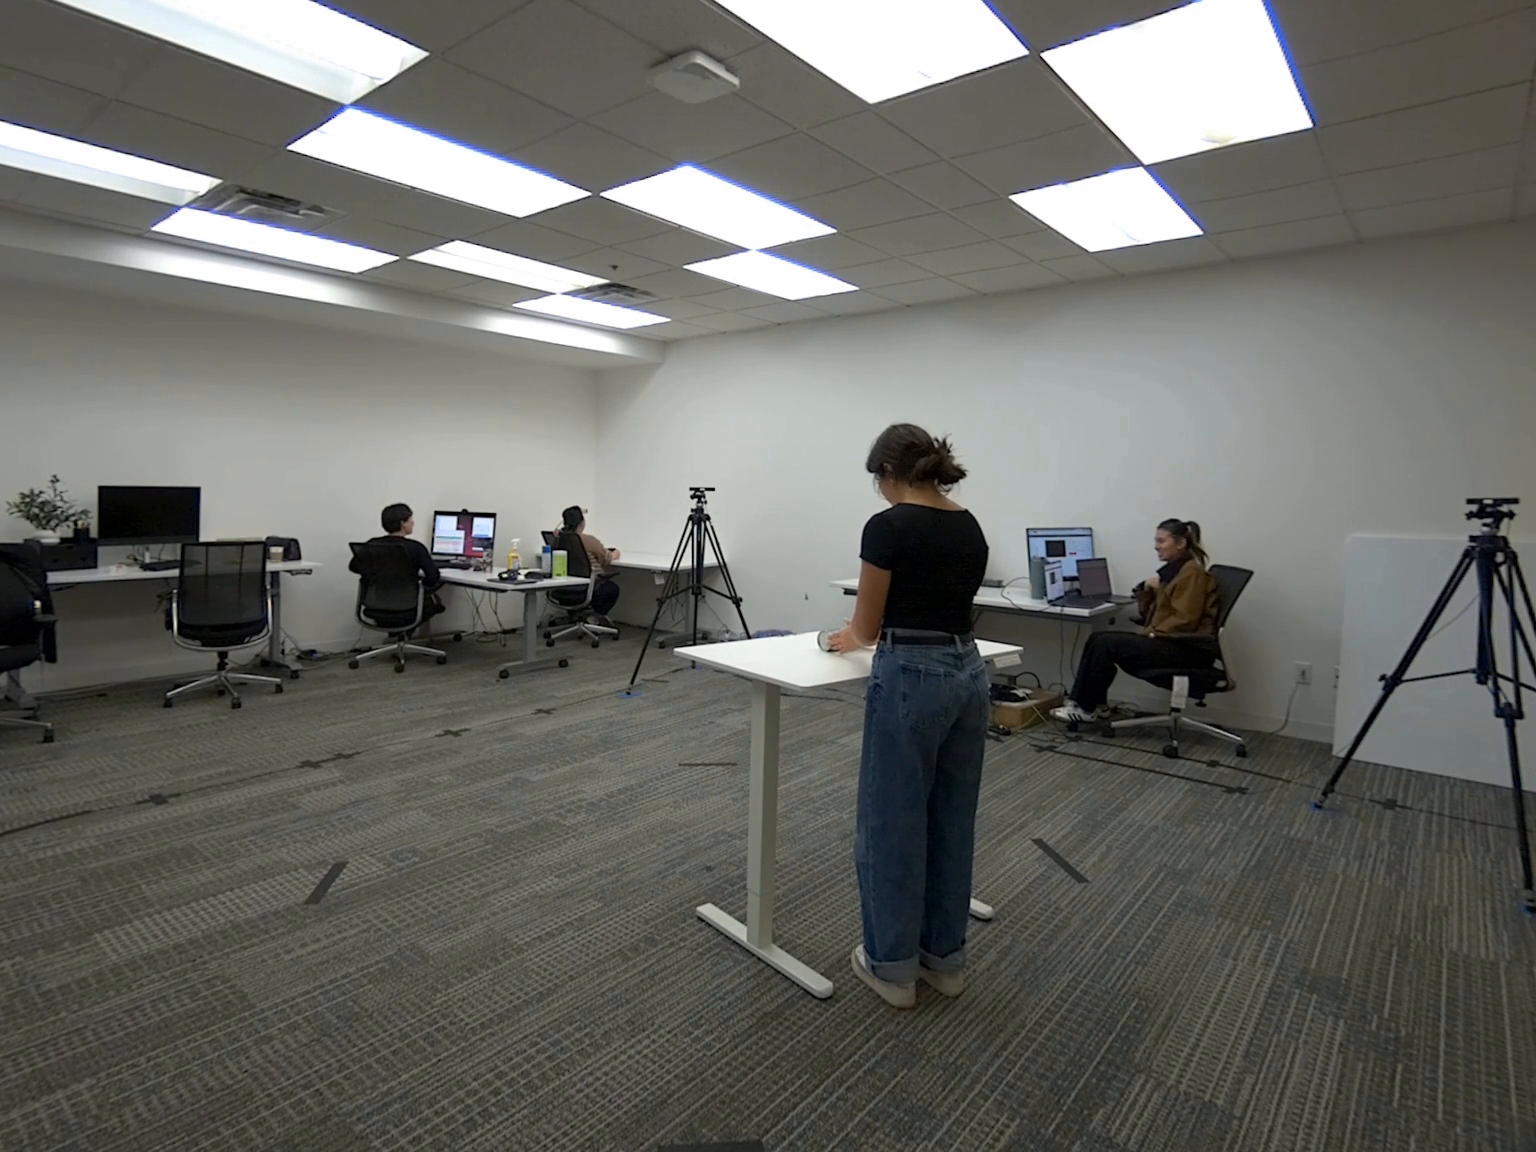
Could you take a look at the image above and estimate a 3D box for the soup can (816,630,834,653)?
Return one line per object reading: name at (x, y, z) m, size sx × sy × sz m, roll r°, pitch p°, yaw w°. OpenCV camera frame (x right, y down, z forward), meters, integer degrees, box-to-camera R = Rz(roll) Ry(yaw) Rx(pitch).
soup can at (0.216, 0.201, 2.703) m, size 0.119 × 0.067 × 0.069 m, roll 0°, pitch 4°, yaw -23°
